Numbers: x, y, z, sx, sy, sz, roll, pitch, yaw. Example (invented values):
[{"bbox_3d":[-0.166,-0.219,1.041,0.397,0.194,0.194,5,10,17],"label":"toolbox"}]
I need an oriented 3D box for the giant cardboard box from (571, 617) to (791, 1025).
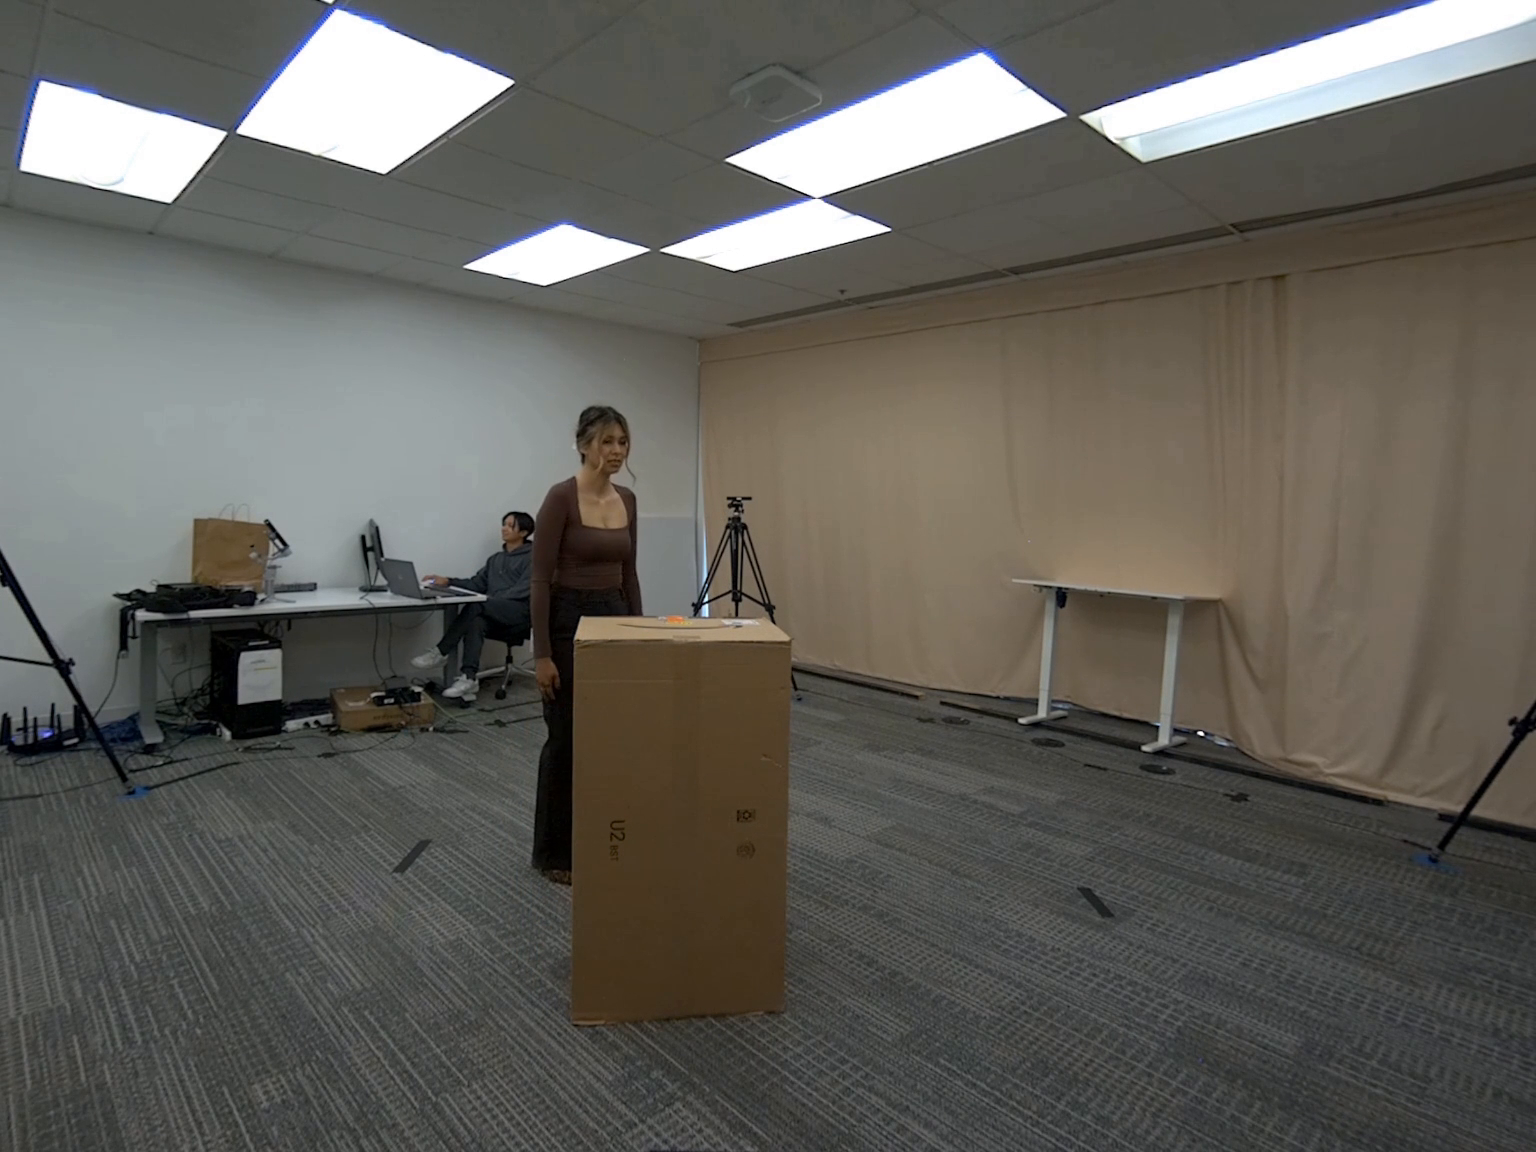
[{"bbox_3d":[-0.266,0.651,2.422,0.580,1.025,0.451,1,3,-8],"label":"giant cardboard box"}]
